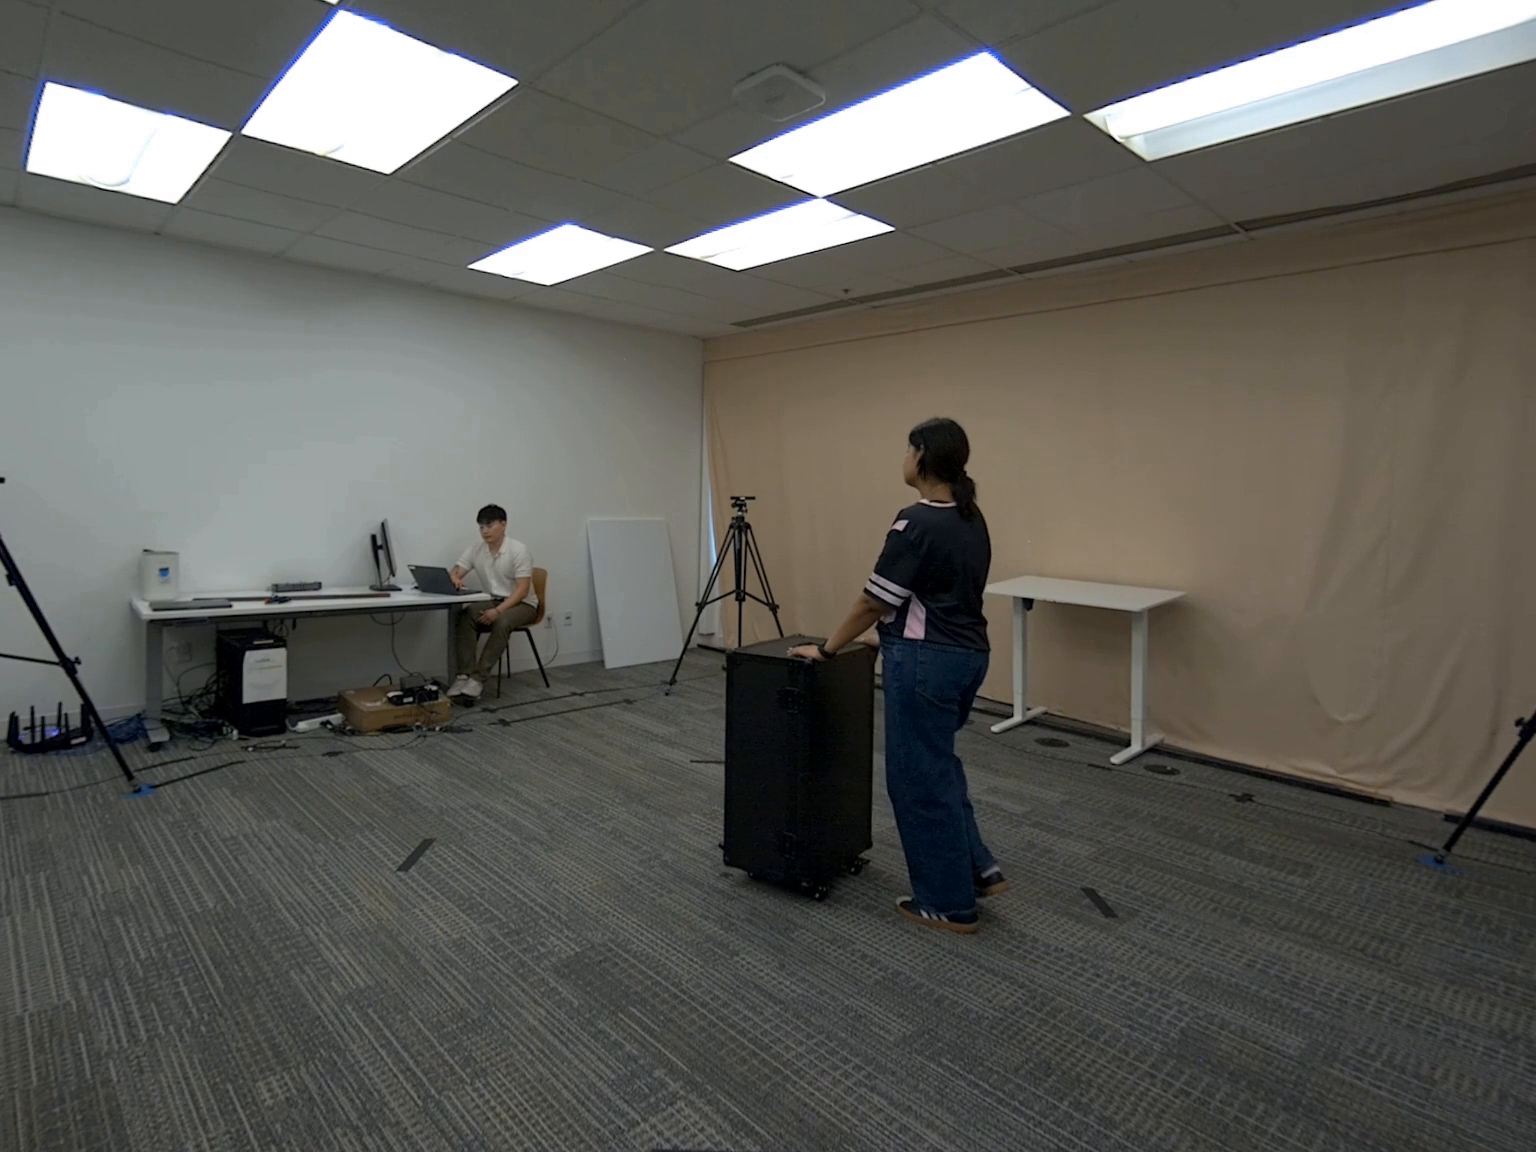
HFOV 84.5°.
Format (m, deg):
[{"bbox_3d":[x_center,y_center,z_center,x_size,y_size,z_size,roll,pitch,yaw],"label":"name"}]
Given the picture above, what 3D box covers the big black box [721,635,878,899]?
[{"bbox_3d":[0.110,0.691,3.105,0.394,0.867,0.512,2,3,34],"label":"big black box"}]
